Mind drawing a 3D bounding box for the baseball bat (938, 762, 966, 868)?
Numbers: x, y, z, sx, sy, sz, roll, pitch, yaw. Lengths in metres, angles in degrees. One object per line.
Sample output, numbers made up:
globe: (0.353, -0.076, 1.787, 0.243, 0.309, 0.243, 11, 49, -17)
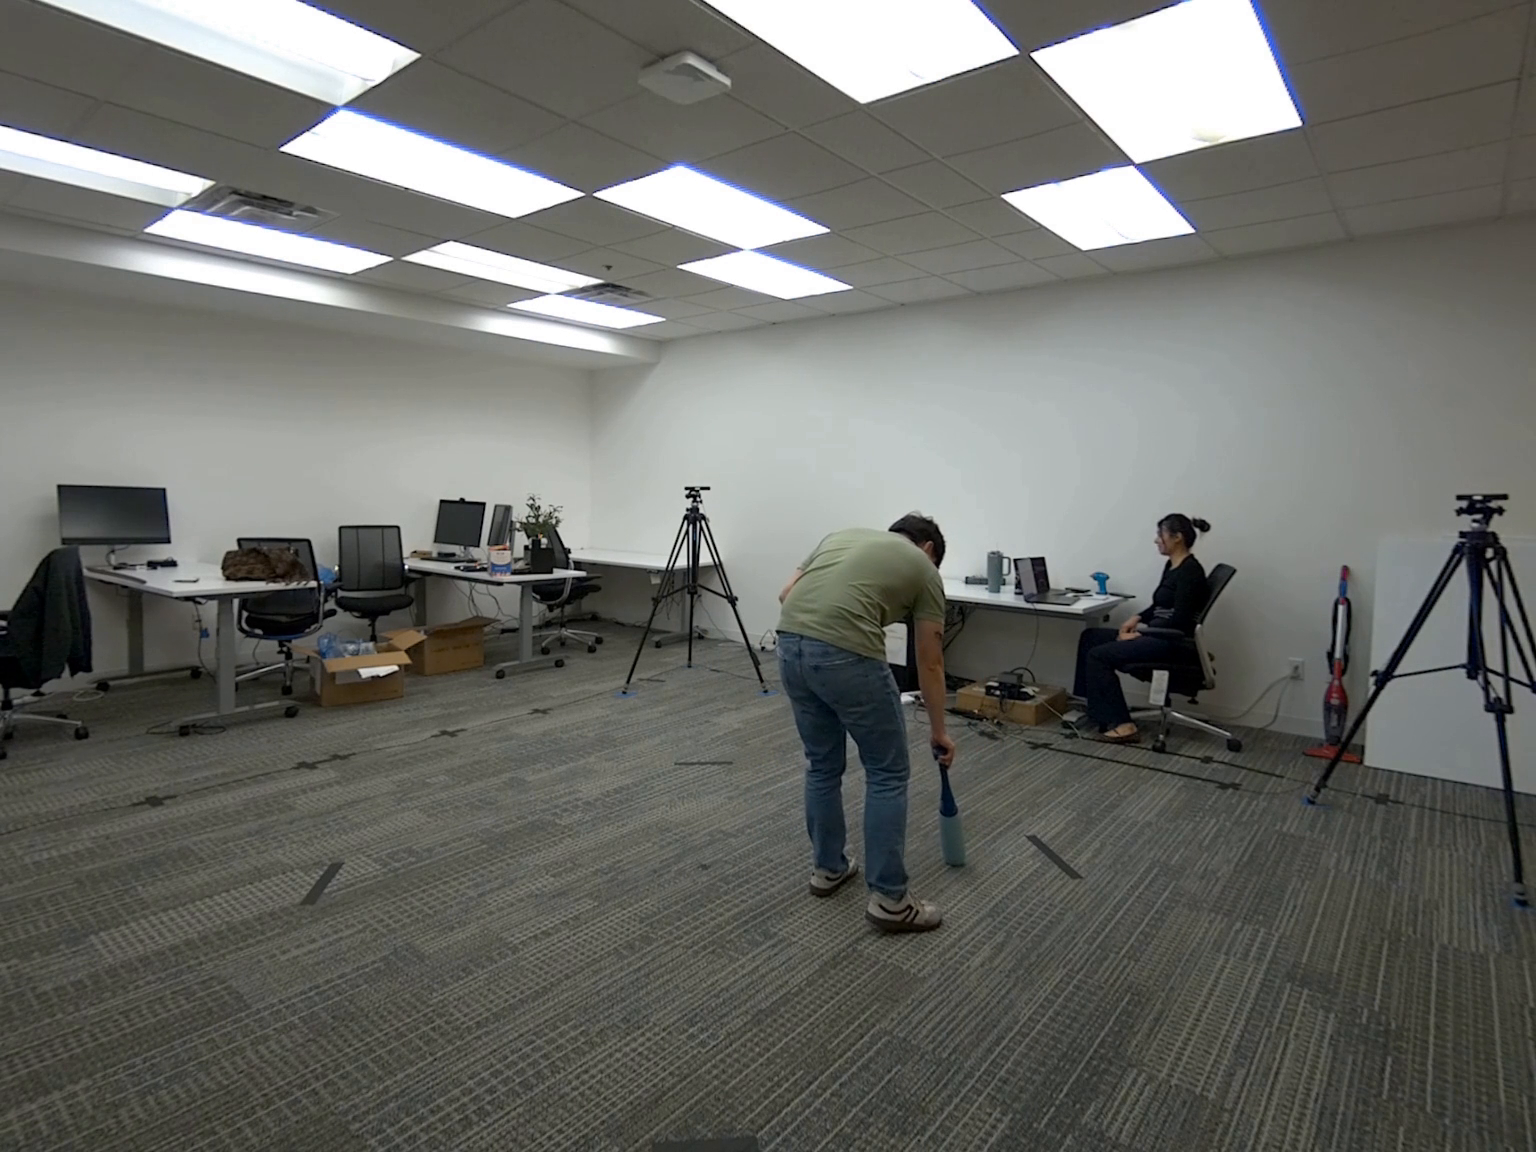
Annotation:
baseball bat: (0.646, 0.835, 3.080, 0.089, 0.527, 0.091, -11, 28, 4)
